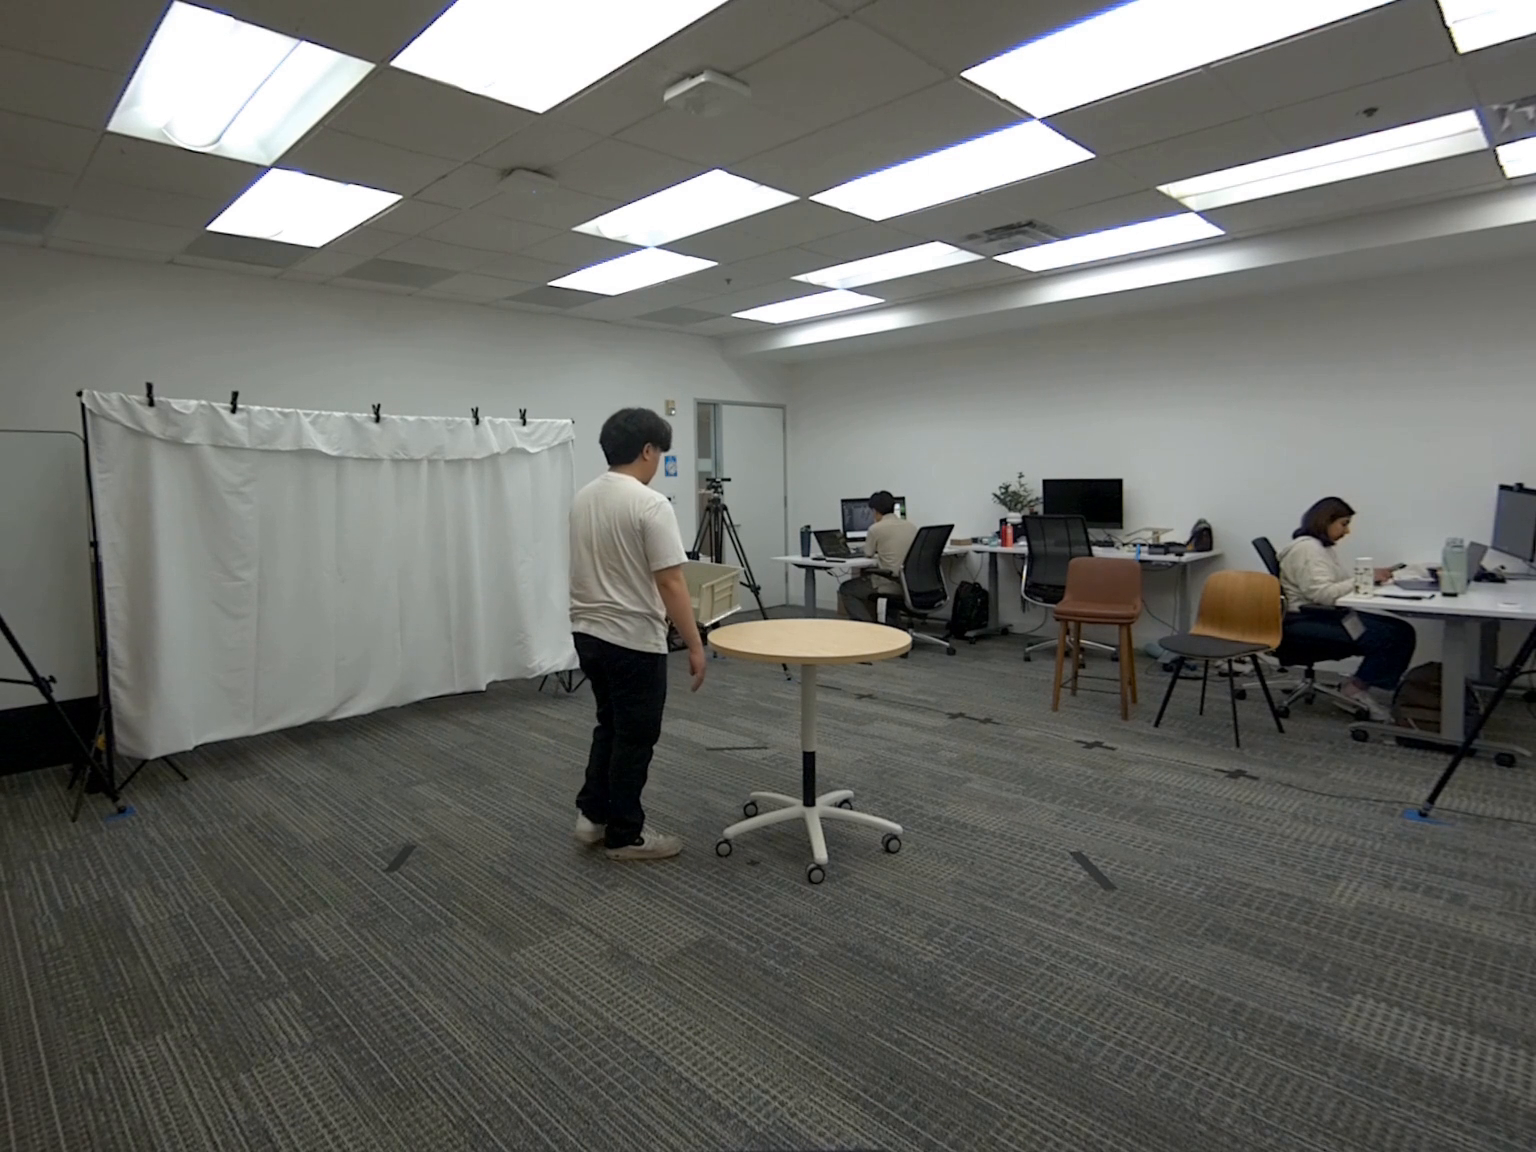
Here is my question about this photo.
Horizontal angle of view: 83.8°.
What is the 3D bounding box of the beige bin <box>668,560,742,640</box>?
[{"bbox_3d":[-0.368,0.063,3.606,0.434,0.187,0.371,8,13,27],"label":"beige bin"}]
